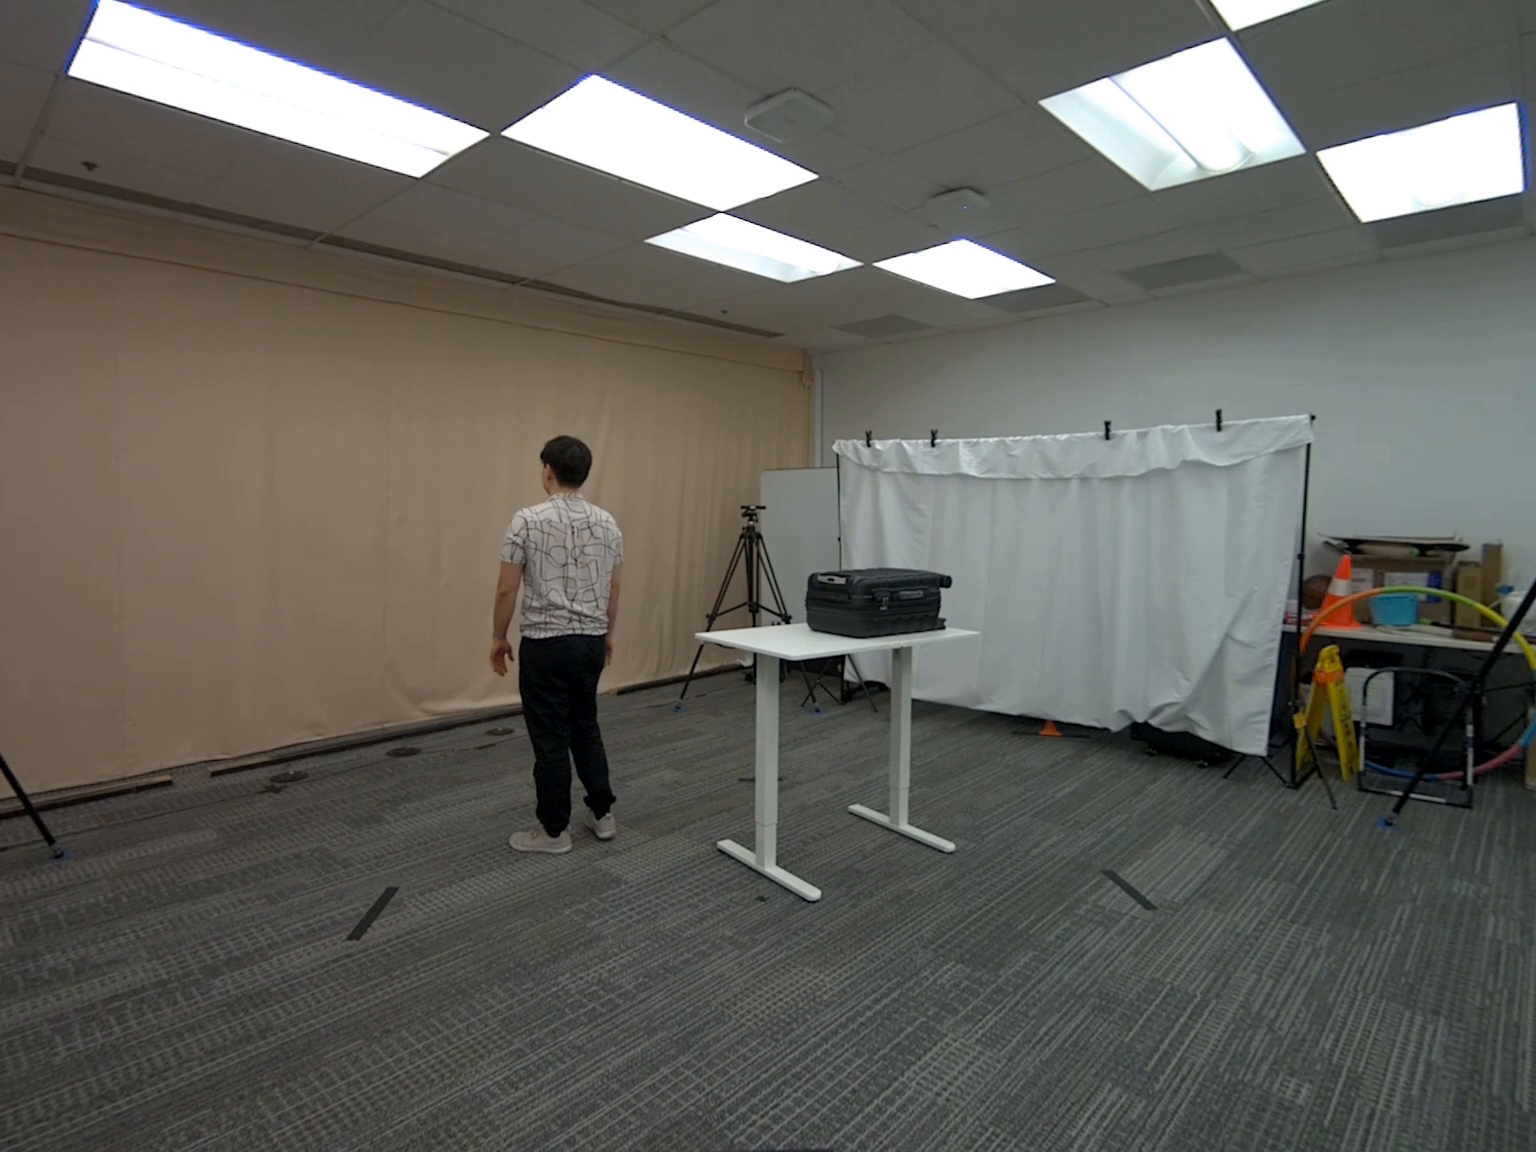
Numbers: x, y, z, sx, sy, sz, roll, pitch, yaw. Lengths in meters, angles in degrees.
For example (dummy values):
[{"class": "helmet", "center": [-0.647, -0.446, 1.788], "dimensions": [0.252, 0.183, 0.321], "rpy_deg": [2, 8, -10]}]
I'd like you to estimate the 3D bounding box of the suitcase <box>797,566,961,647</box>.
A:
[{"class": "suitcase", "center": [0.449, 0.108, 3.440], "dimensions": [0.533, 0.248, 0.388], "rpy_deg": [-3, 6, -39]}]
